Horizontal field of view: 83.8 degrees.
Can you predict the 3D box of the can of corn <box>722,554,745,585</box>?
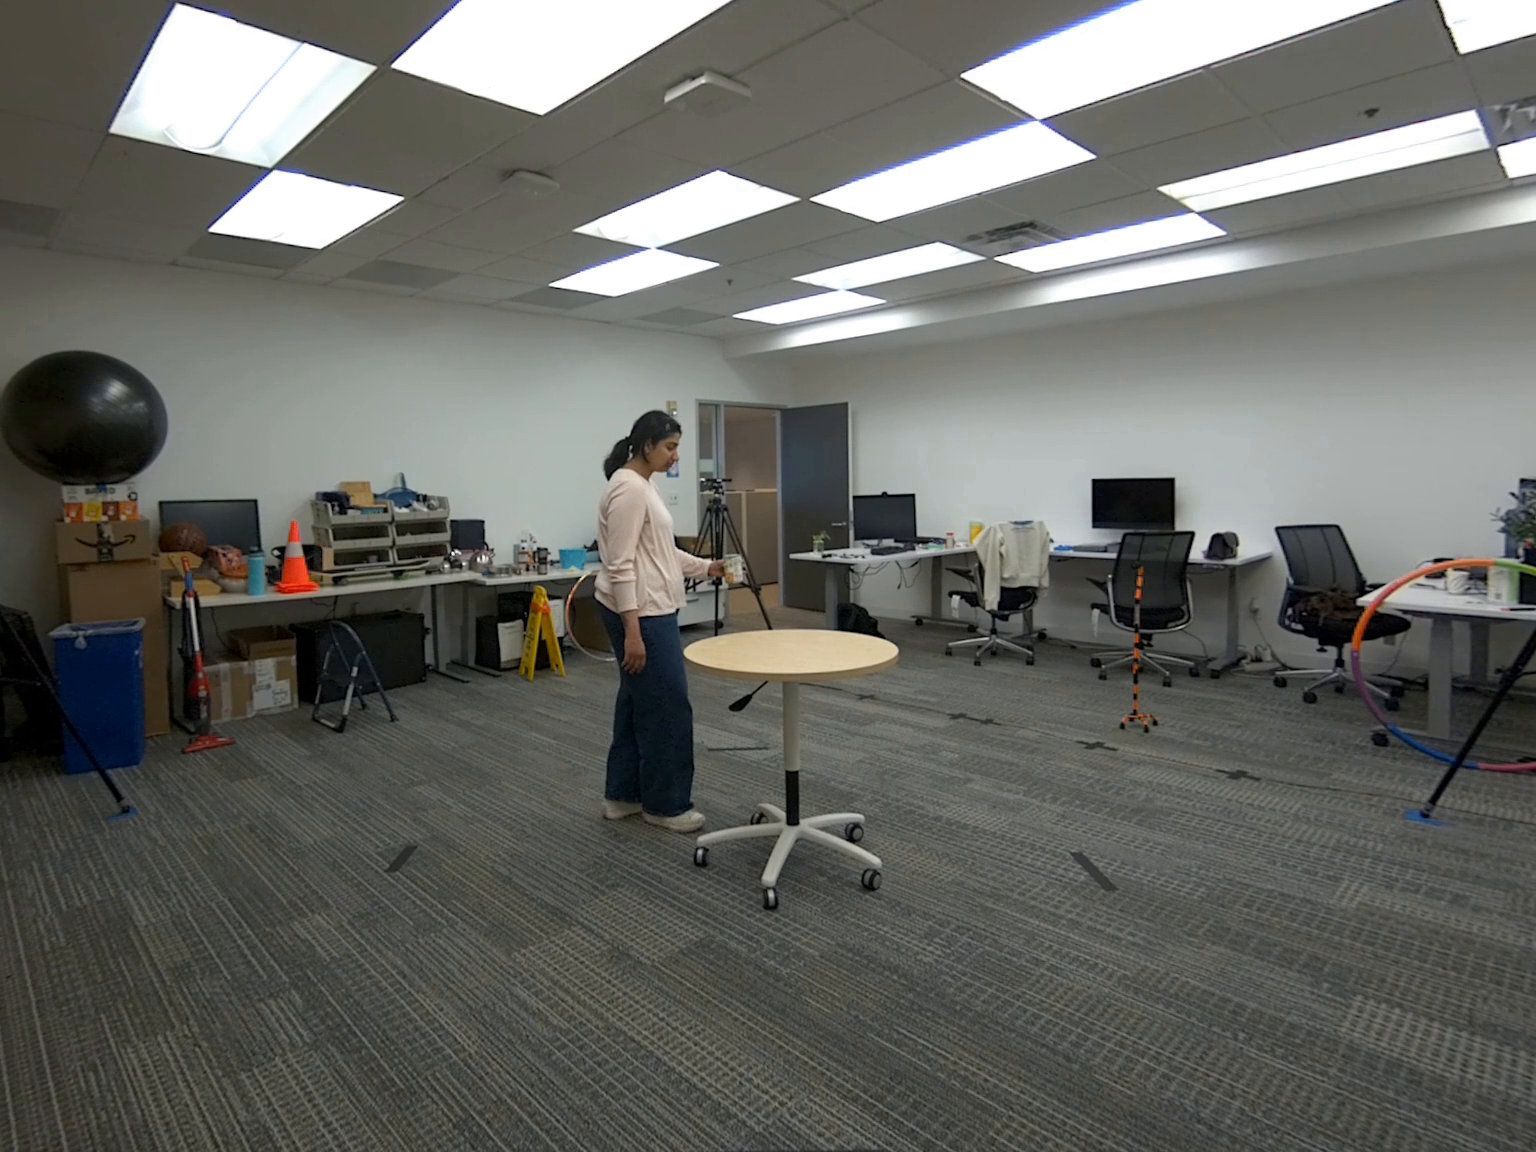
[{"bbox_3d":[-0.153,-0.029,3.535,0.074,0.110,0.075,-5,7,-1],"label":"can of corn"}]
